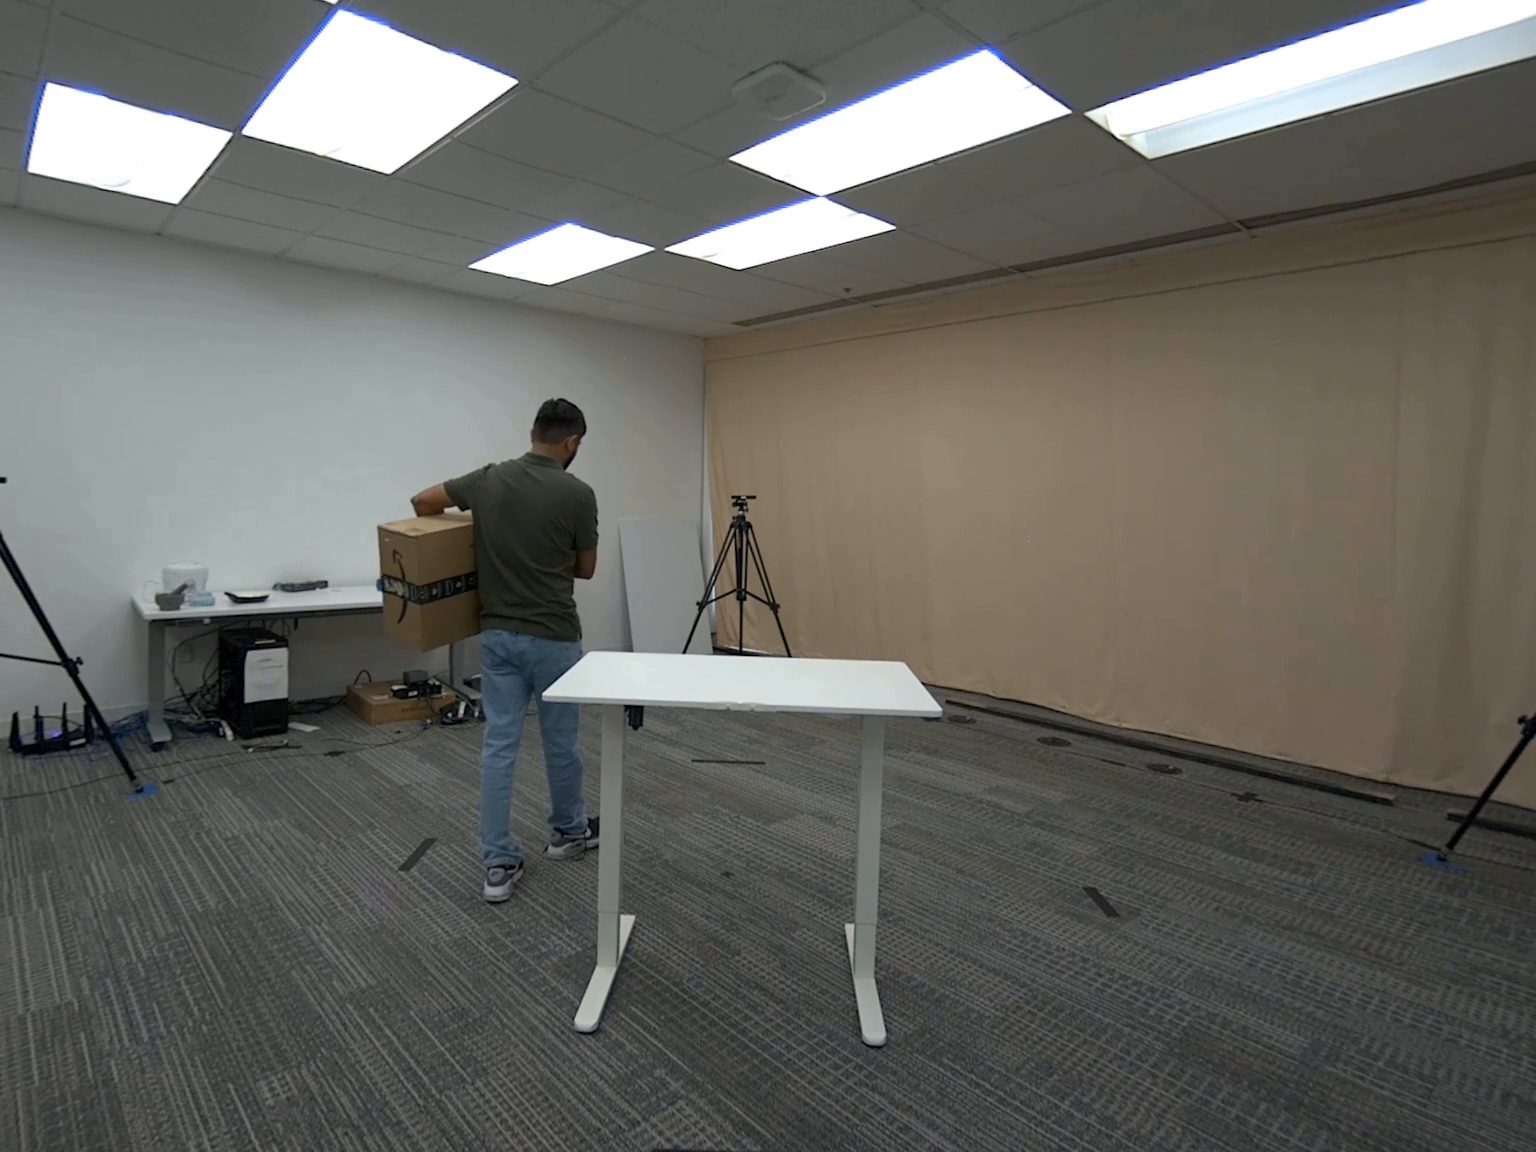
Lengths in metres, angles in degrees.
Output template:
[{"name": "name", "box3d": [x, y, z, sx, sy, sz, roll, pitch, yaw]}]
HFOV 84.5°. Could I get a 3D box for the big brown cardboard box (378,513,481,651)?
[{"name": "big brown cardboard box", "box3d": [-1.108, -0.018, 3.085, 0.239, 0.414, 0.580, 11, 16, 31]}]
